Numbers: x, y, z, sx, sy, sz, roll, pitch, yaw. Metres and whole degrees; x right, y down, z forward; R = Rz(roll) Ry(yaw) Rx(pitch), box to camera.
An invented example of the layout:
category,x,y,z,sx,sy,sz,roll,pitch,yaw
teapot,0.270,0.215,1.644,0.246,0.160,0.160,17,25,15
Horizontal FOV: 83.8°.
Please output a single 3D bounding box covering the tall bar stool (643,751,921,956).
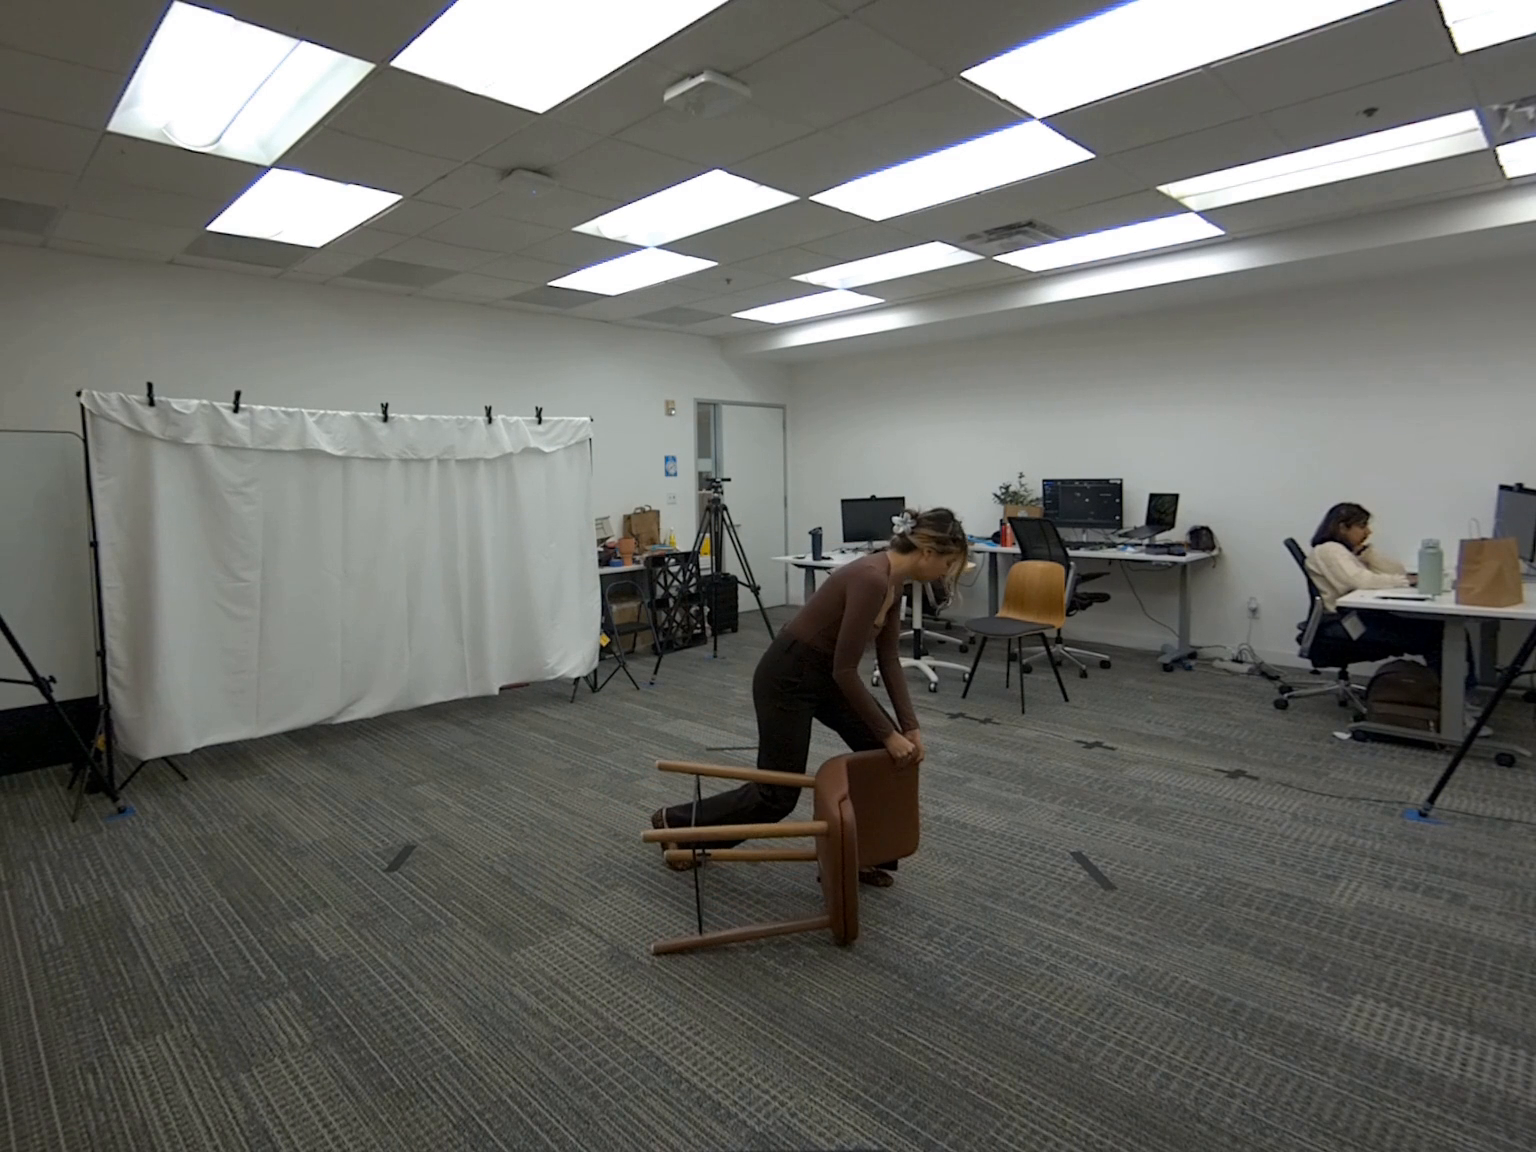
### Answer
category,x,y,z,sx,sy,sz,roll,pitch,yaw
tall bar stool,0.080,0.839,2.667,0.889,0.451,0.474,-2,14,-1
